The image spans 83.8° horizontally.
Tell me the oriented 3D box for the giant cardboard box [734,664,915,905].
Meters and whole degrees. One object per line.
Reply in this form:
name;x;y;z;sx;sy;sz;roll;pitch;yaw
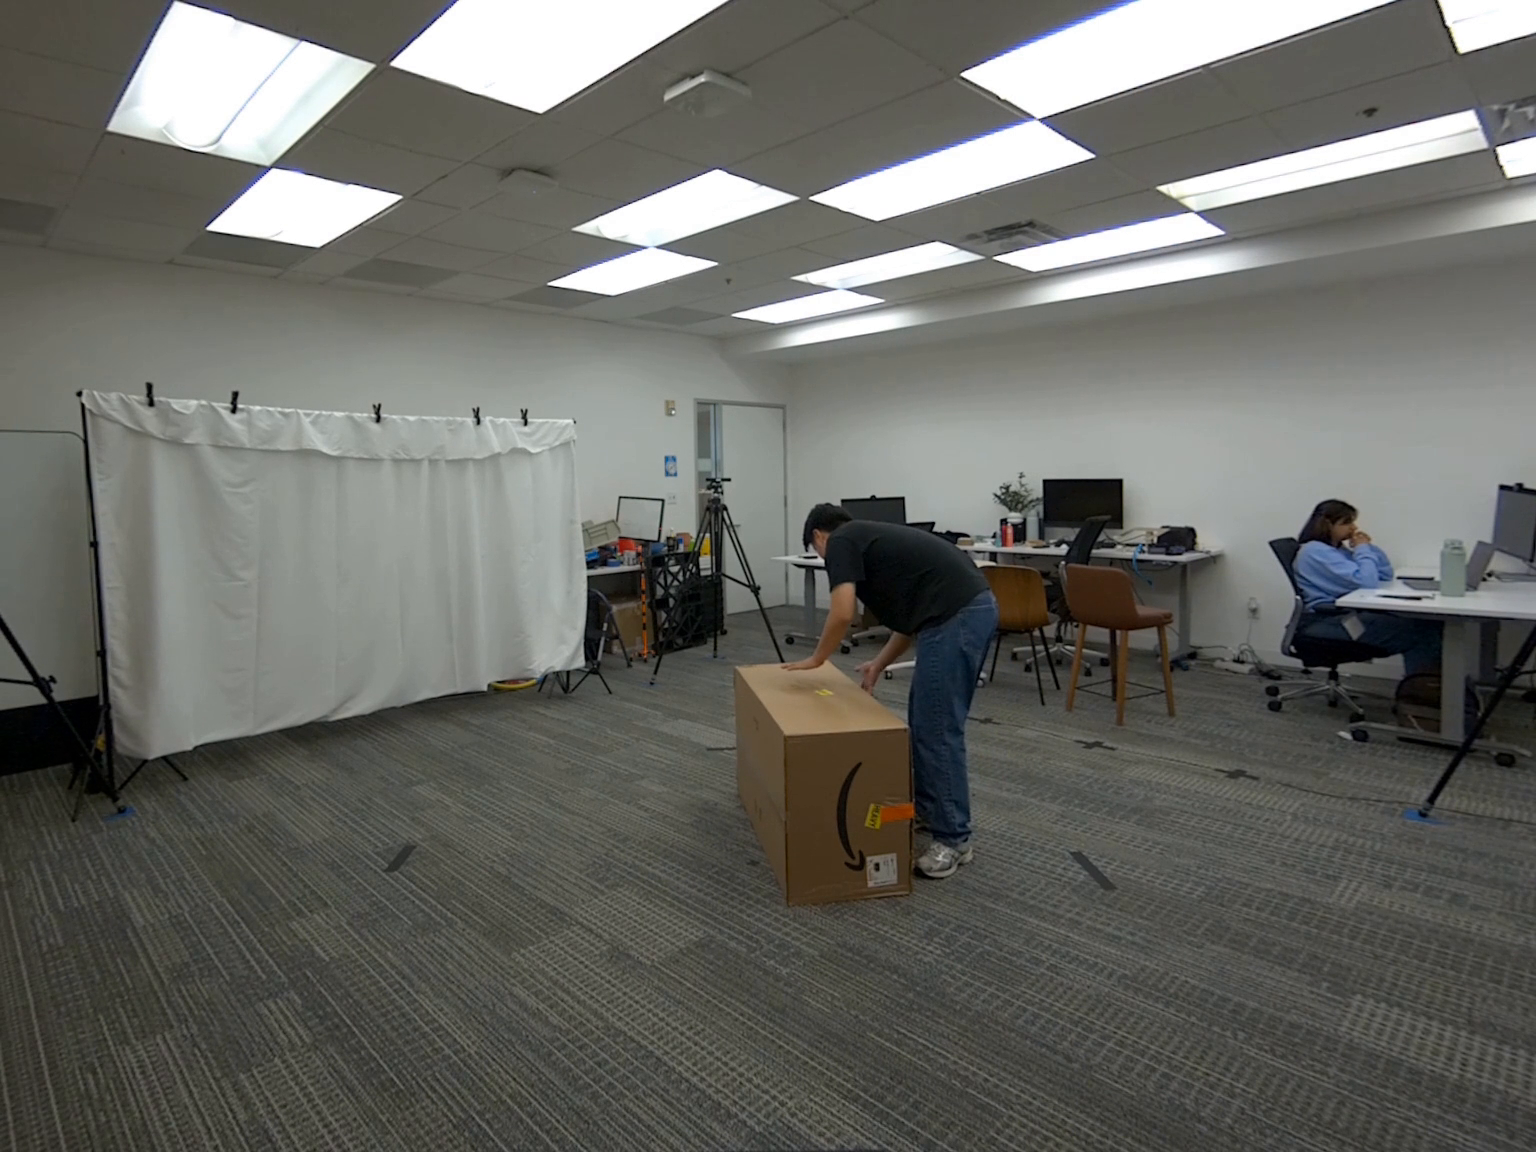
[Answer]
giant cardboard box;0.172;0.725;3.295;0.442;0.581;1.042;-1;6;-12
